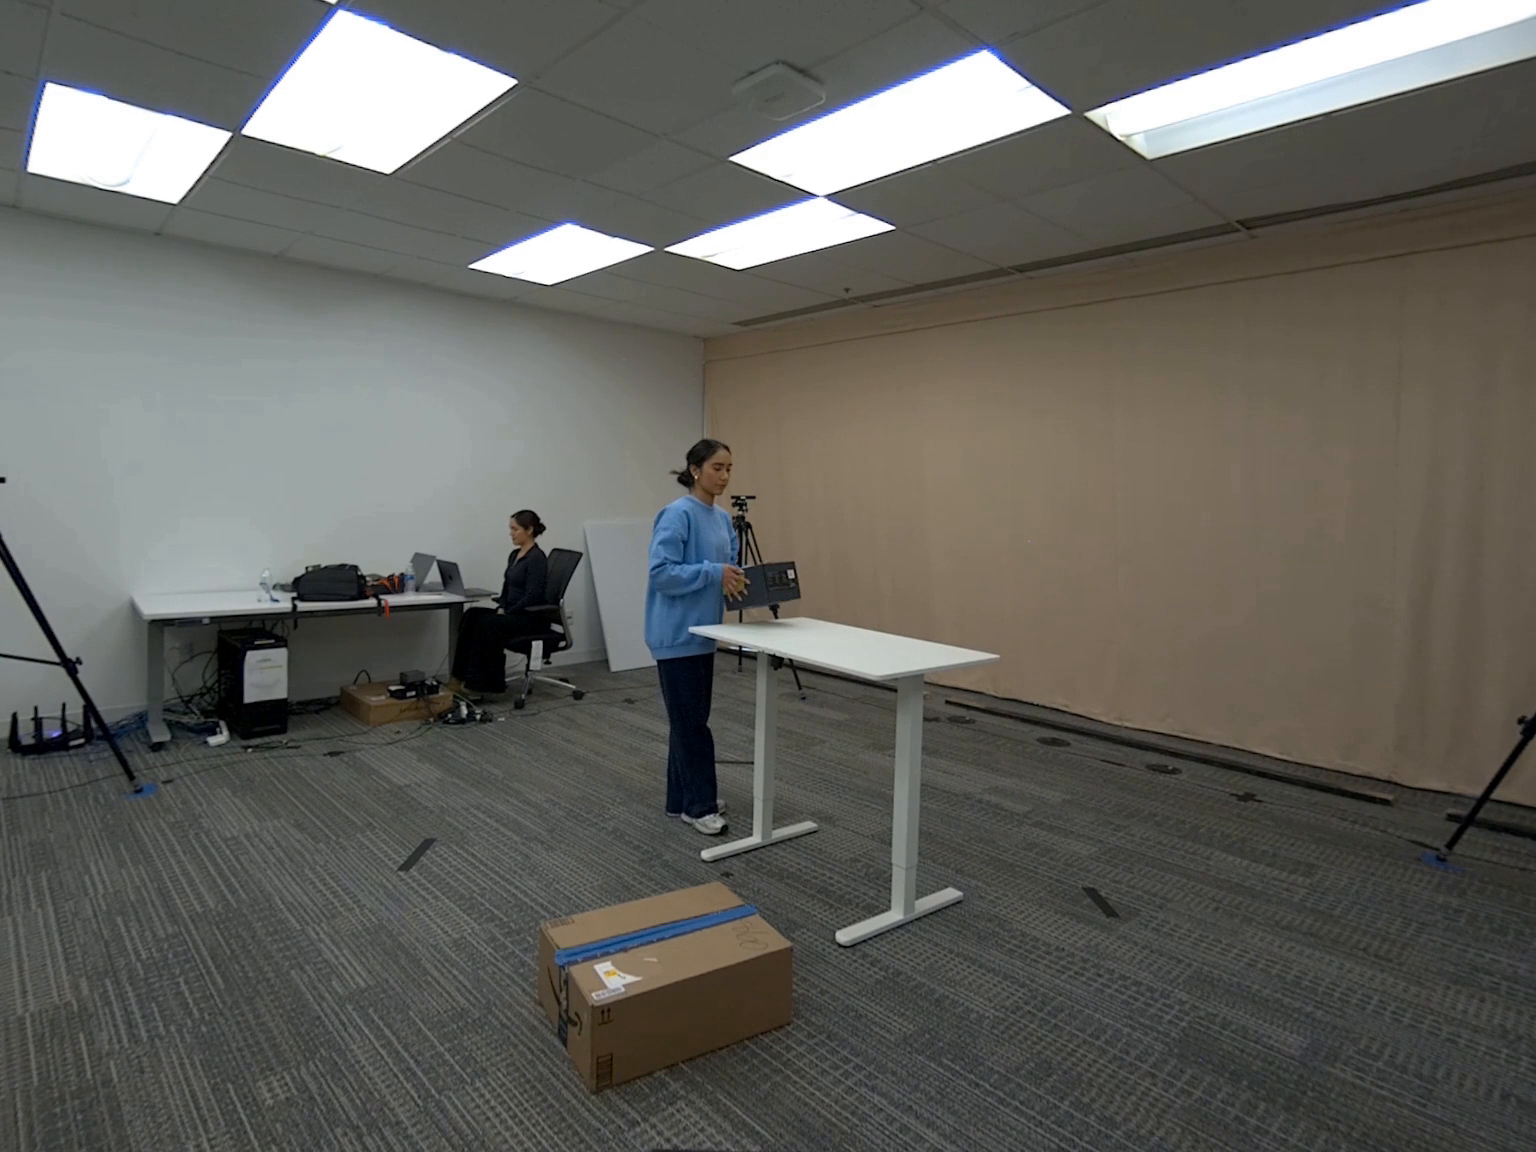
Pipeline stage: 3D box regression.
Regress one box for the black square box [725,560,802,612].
[{"bbox_3d":[-0.034,0.038,3.405,0.232,0.156,0.212,-13,-5,35],"label":"black square box"}]
